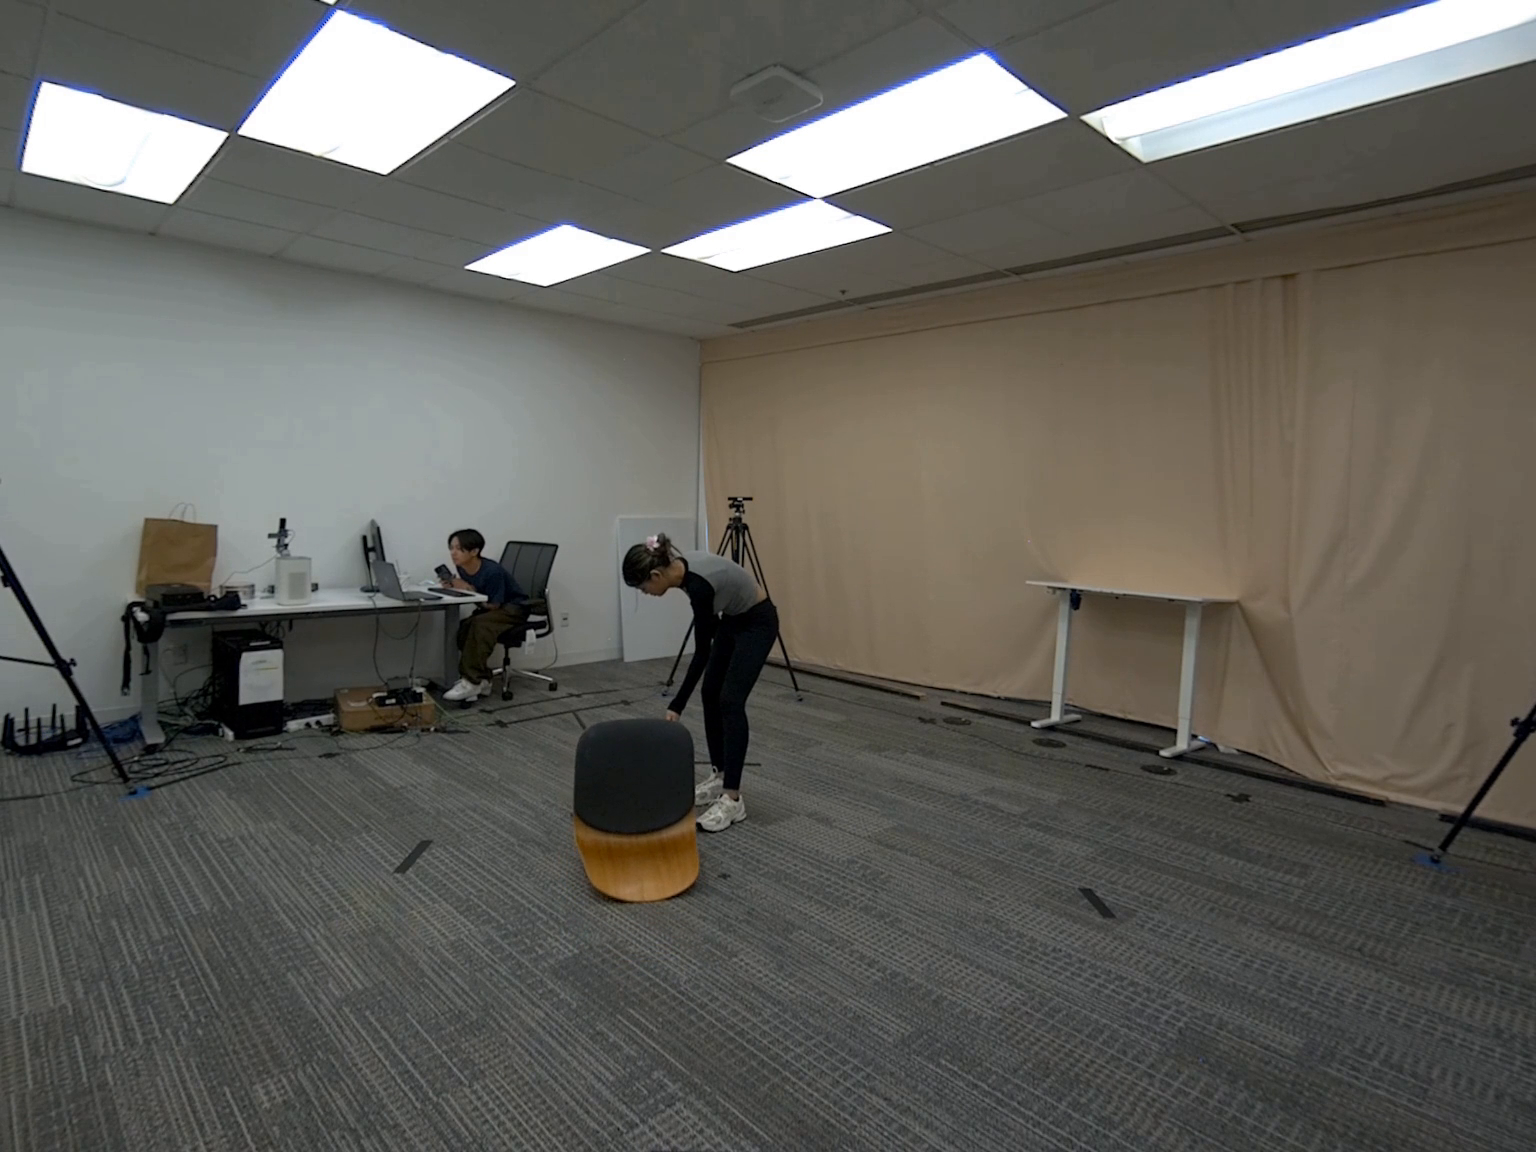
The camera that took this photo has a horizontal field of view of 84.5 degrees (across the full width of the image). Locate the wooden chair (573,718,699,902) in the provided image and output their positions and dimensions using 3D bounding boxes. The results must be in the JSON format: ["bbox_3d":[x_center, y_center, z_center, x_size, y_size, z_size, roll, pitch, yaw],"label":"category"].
[{"bbox_3d":[-0.529,0.820,3.290,0.473,0.521,0.889,0,6,-14],"label":"wooden chair"}]
